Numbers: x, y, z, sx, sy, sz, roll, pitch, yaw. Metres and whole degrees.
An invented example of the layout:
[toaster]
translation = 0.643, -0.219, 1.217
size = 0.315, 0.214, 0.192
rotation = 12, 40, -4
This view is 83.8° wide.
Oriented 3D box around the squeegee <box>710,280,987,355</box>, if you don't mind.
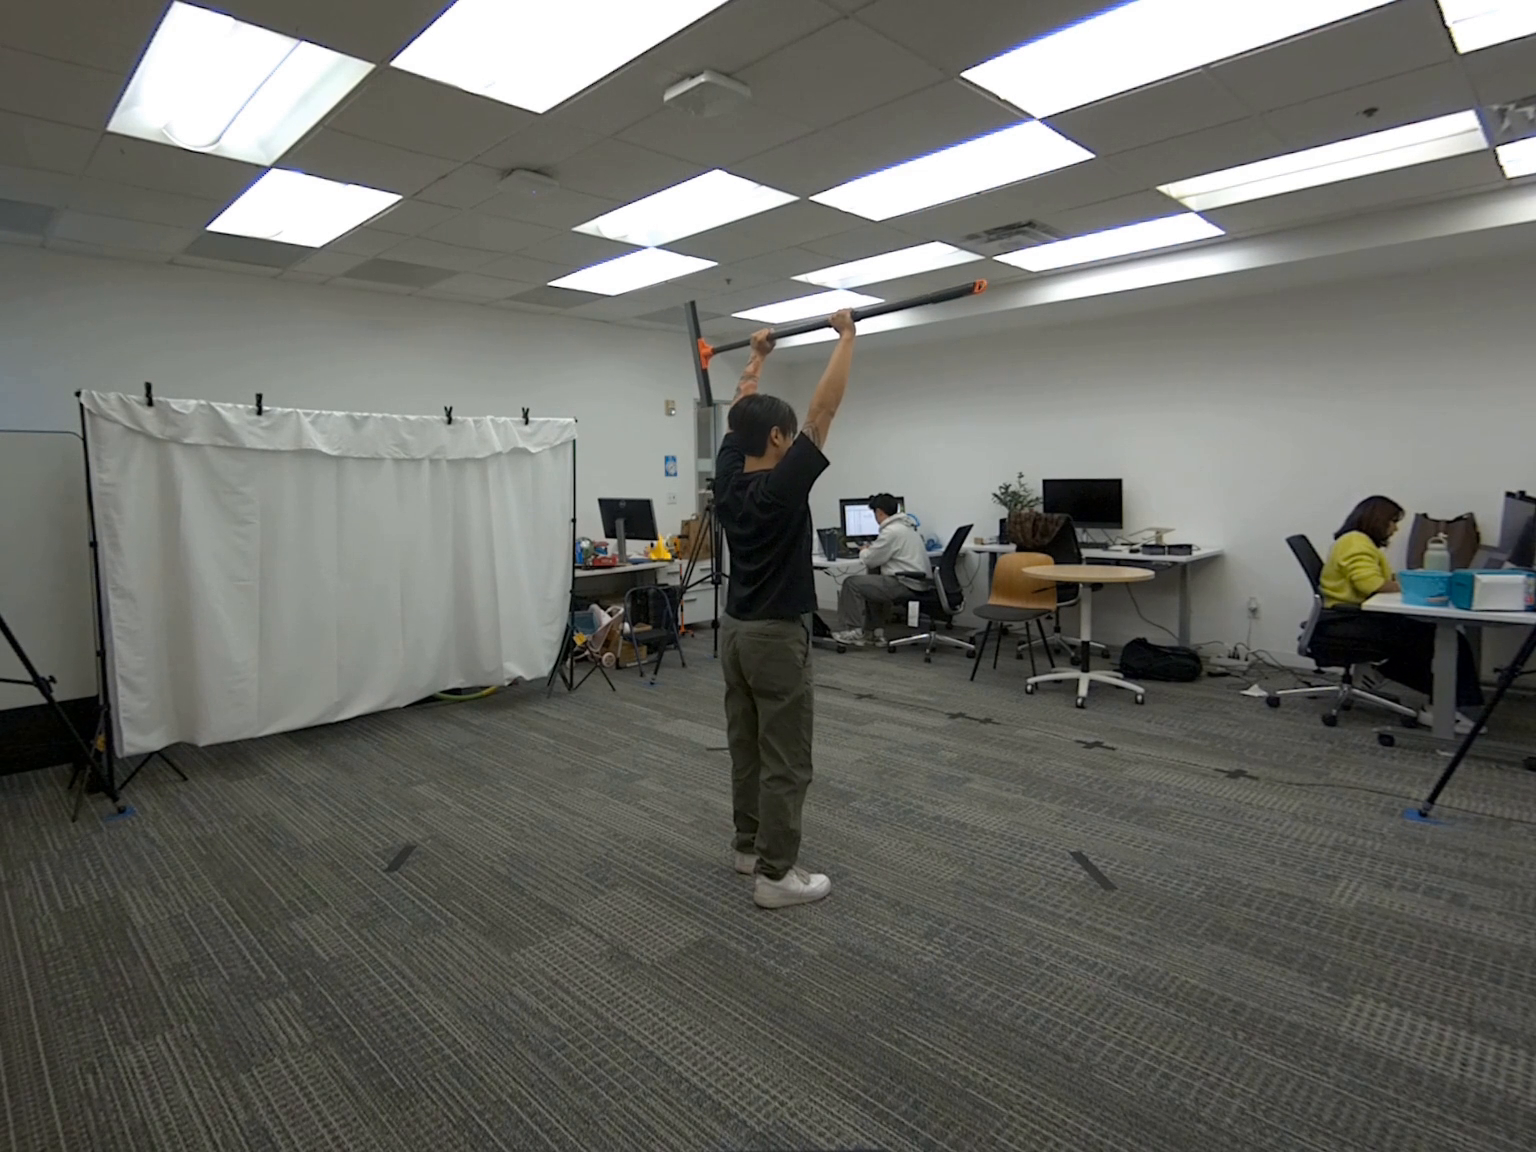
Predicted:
[squeegee]
translation = 0.137, -0.831, 2.889
size = 0.052, 0.432, 1.584
rotation = -16, 14, -31
